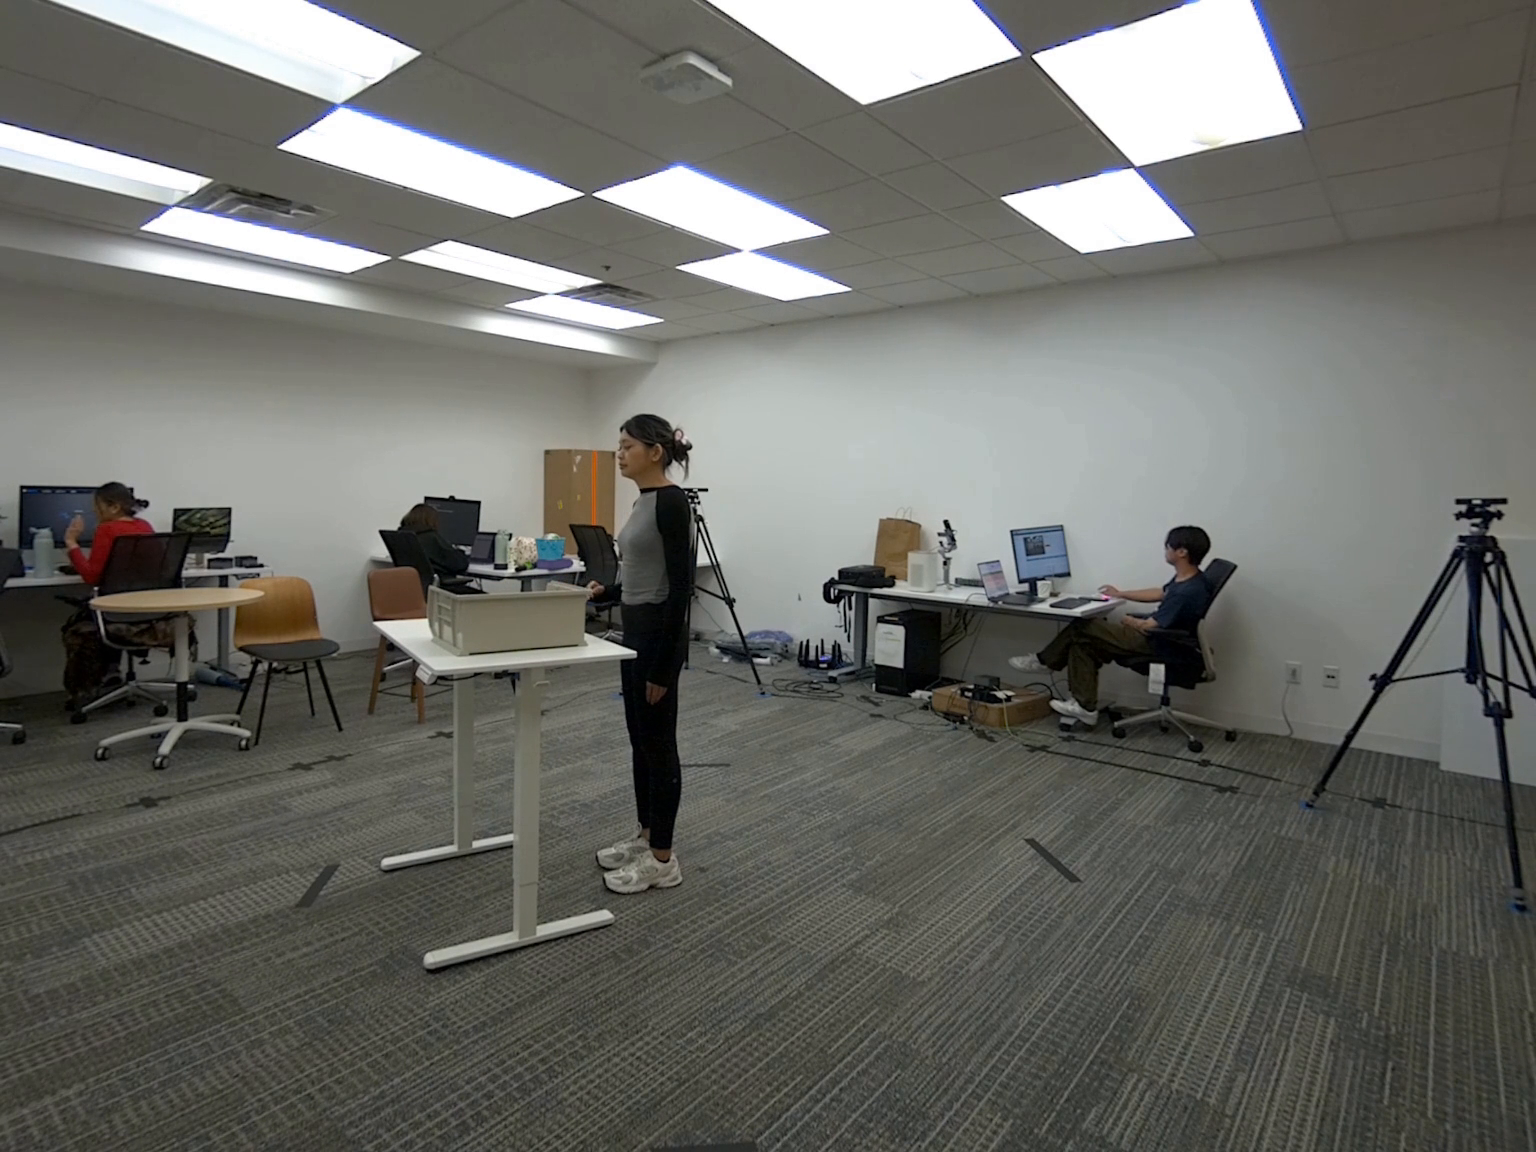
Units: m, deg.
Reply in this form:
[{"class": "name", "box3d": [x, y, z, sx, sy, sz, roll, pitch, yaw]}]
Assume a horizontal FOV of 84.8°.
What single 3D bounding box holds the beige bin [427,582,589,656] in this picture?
[{"class": "beige bin", "box3d": [-0.849, 0.128, 2.728, 0.410, 0.188, 0.390, -2, 6, -34]}]
